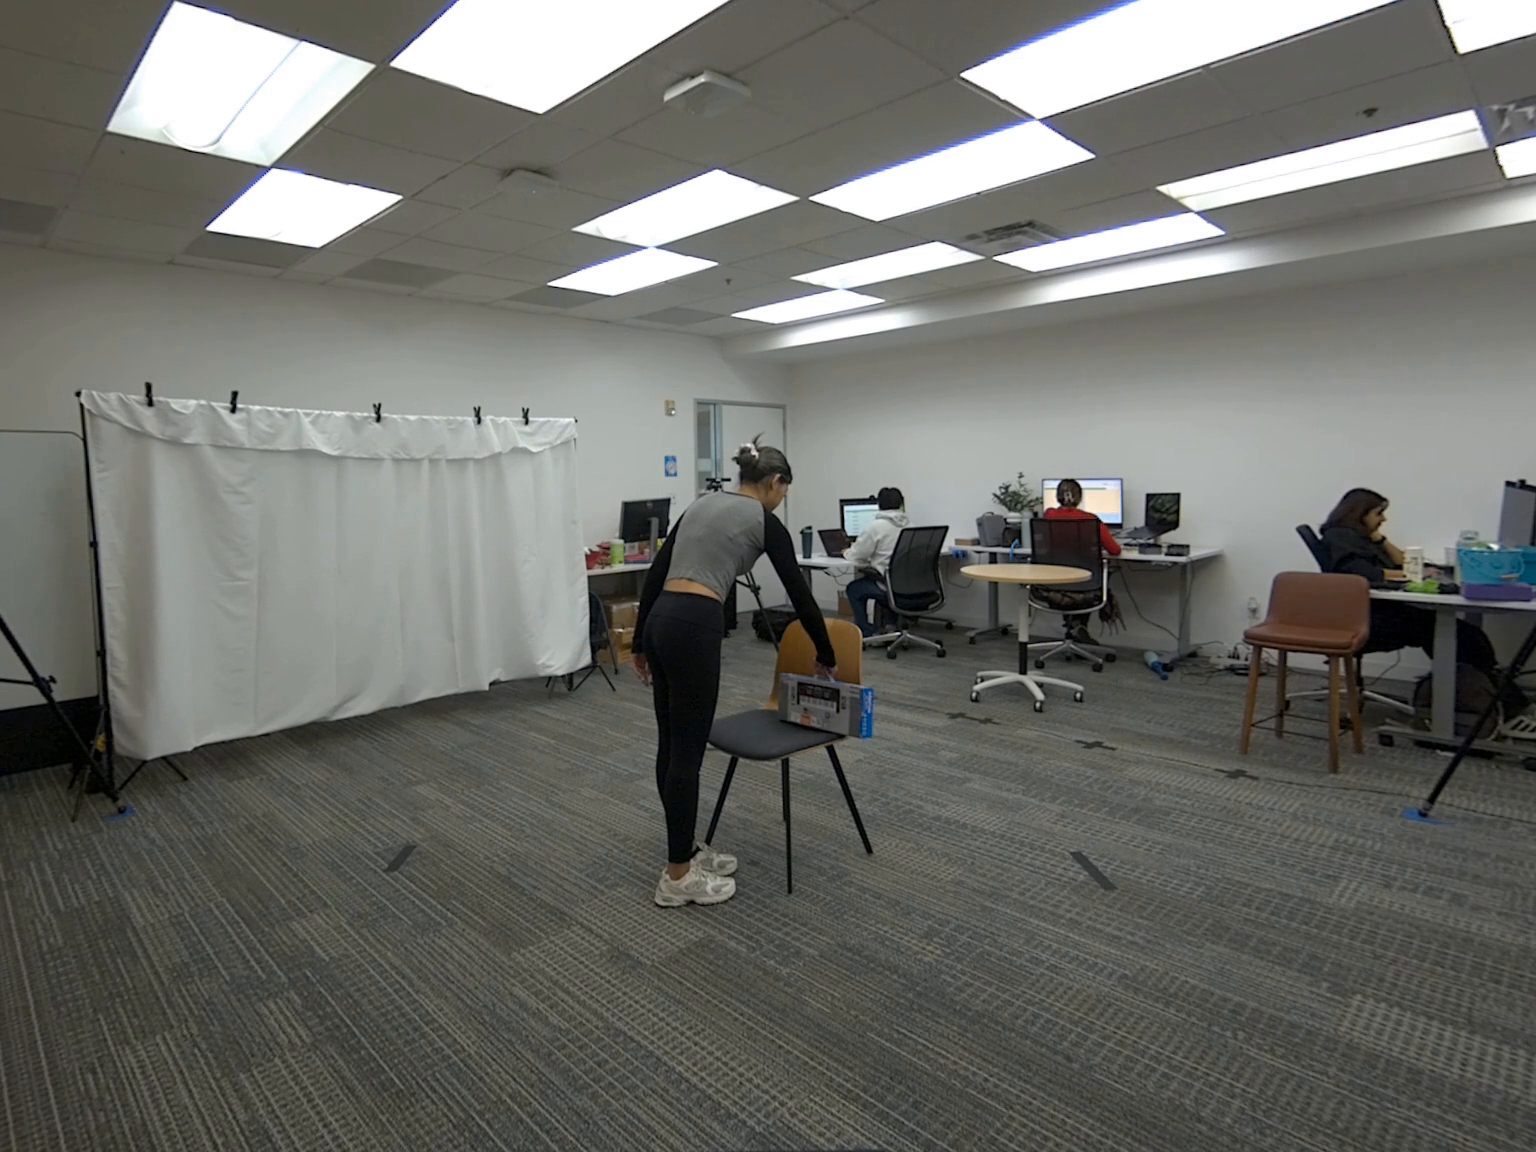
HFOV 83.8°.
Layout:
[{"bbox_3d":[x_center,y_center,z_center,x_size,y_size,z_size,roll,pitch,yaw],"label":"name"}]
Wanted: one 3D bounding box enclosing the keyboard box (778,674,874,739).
[{"bbox_3d":[0.196,0.467,3.096,0.057,0.176,0.449,3,-1,-38],"label":"keyboard box"}]
